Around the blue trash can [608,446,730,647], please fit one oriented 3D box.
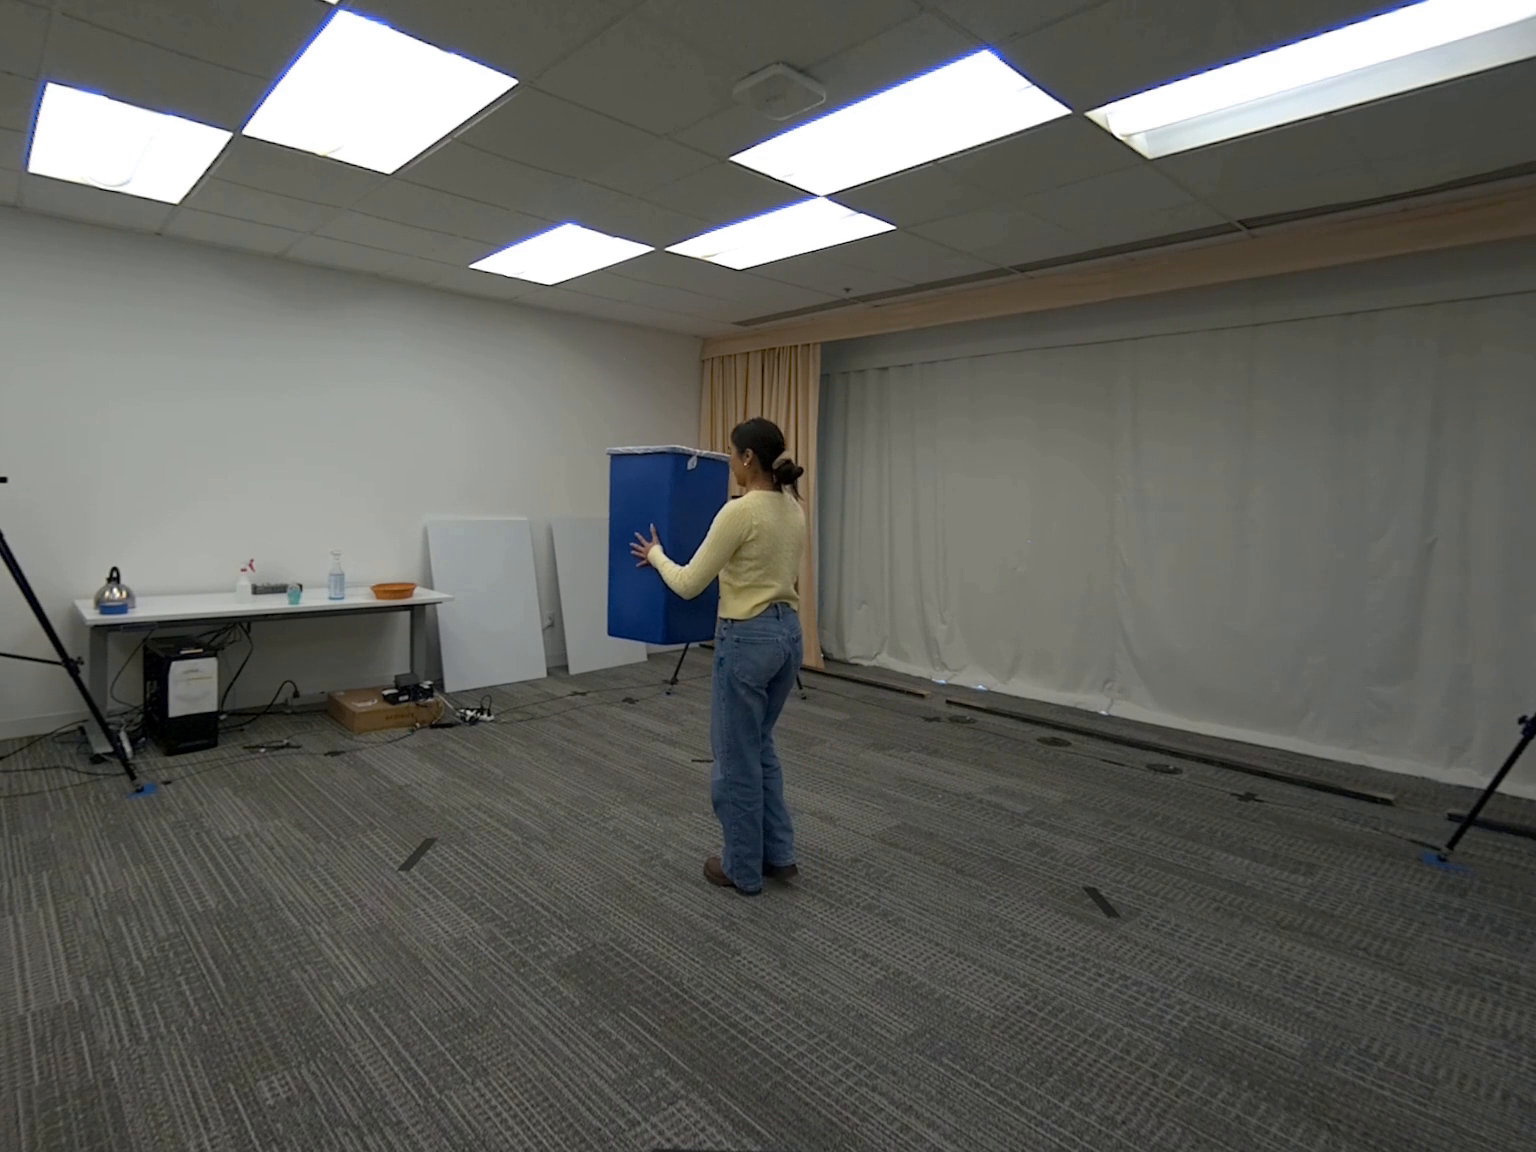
[{"bbox_3d":[-0.399,-0.120,3.221,0.383,0.713,0.369,4,1,37],"label":"blue trash can"}]
